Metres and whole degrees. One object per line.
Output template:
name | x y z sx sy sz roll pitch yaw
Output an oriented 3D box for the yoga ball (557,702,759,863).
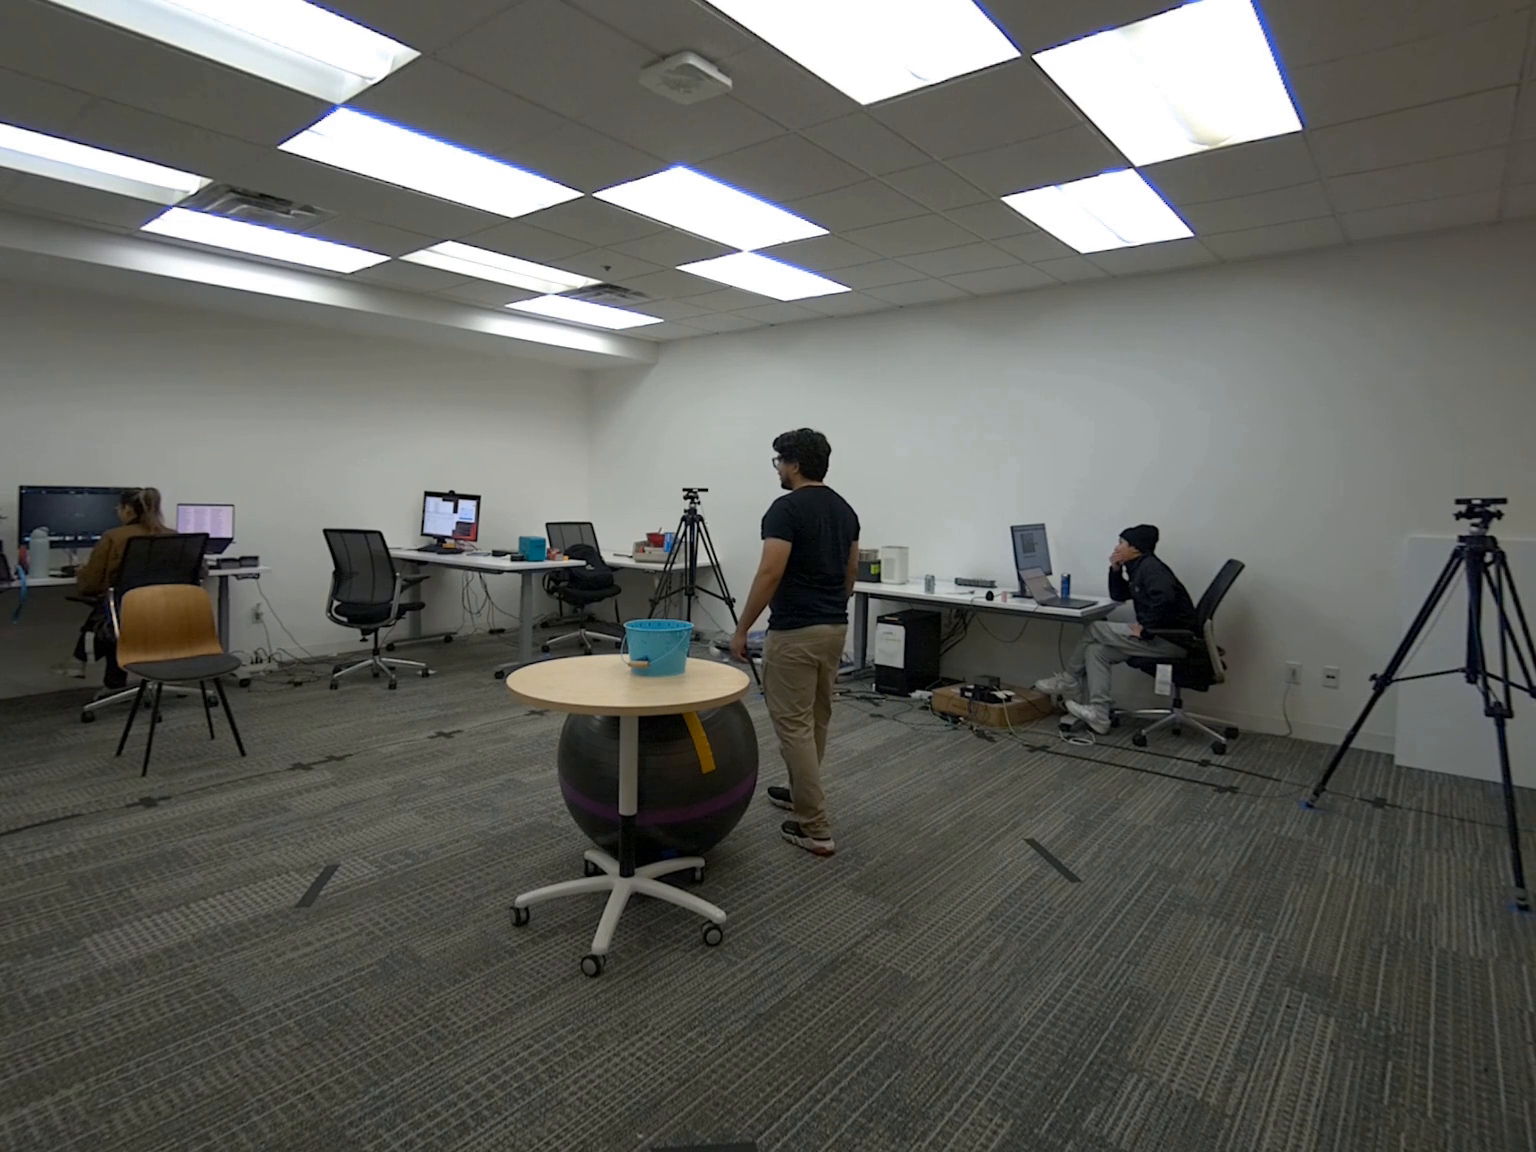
yoga ball | -0.425 0.684 3.214 0.757 0.755 0.762 1 4 -2
